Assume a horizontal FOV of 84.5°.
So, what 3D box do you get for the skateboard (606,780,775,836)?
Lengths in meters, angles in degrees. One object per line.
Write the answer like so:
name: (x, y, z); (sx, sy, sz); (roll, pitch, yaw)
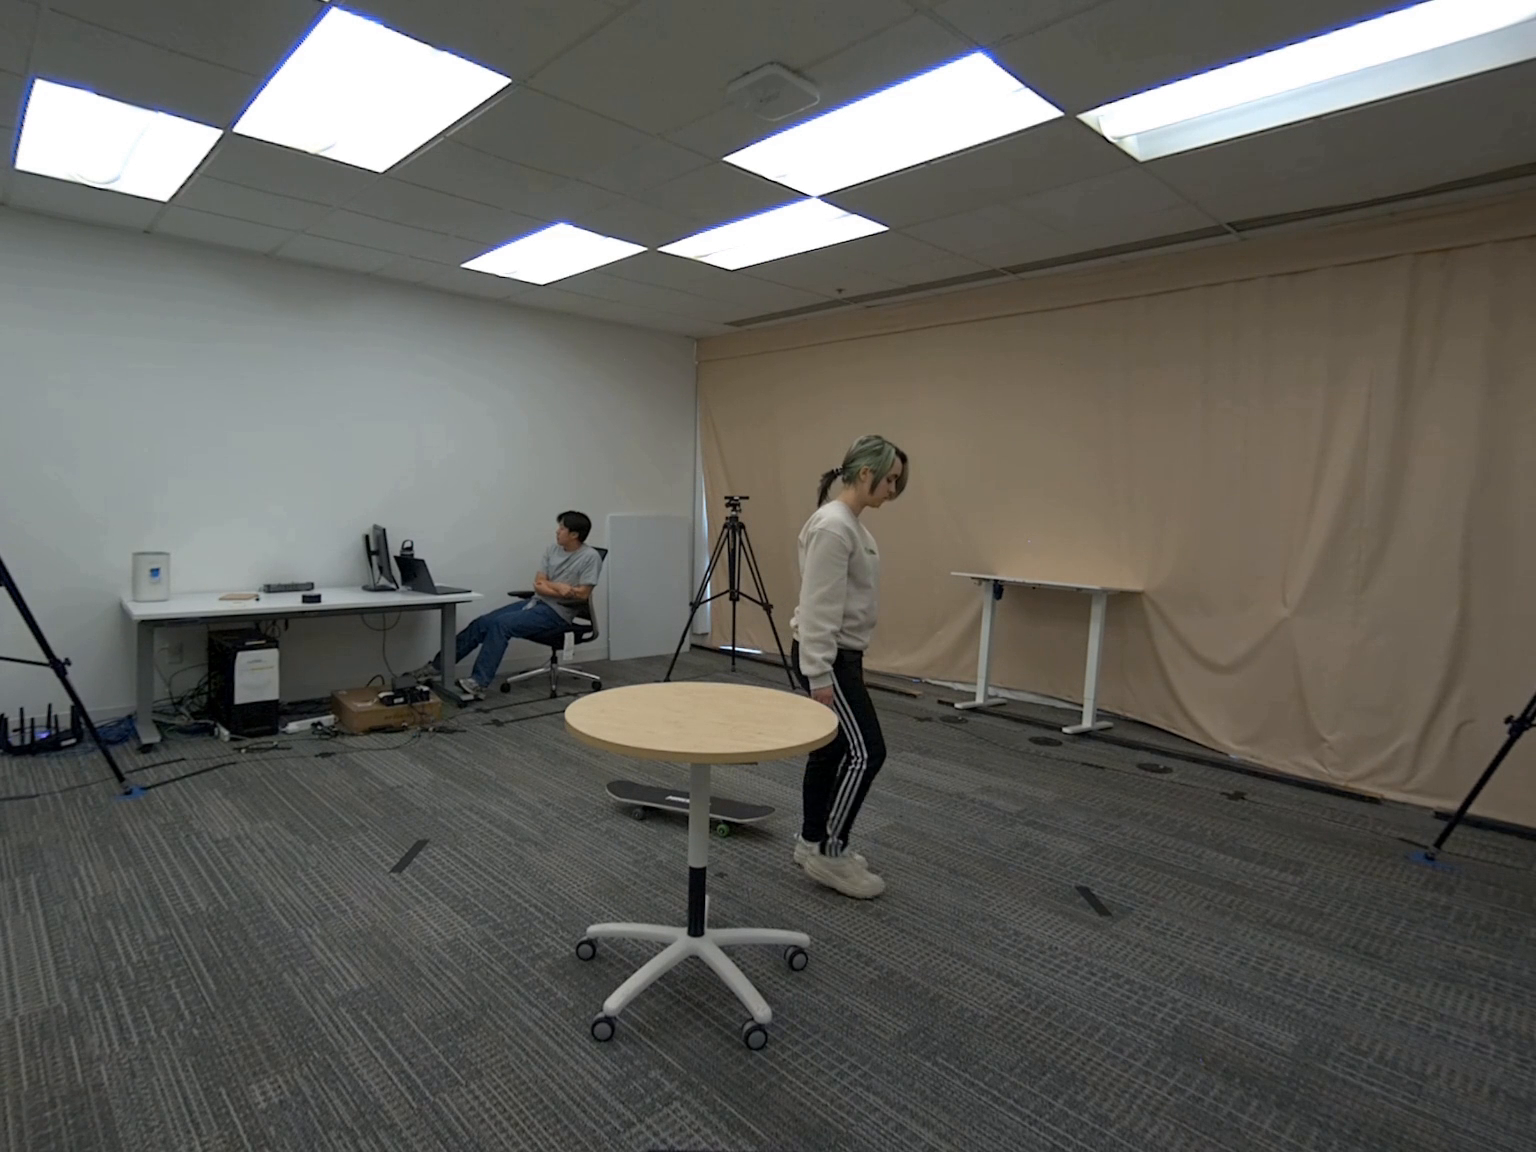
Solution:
skateboard: (-0.357, 0.997, 3.618); (0.800, 0.110, 0.190); (4, 5, 23)
